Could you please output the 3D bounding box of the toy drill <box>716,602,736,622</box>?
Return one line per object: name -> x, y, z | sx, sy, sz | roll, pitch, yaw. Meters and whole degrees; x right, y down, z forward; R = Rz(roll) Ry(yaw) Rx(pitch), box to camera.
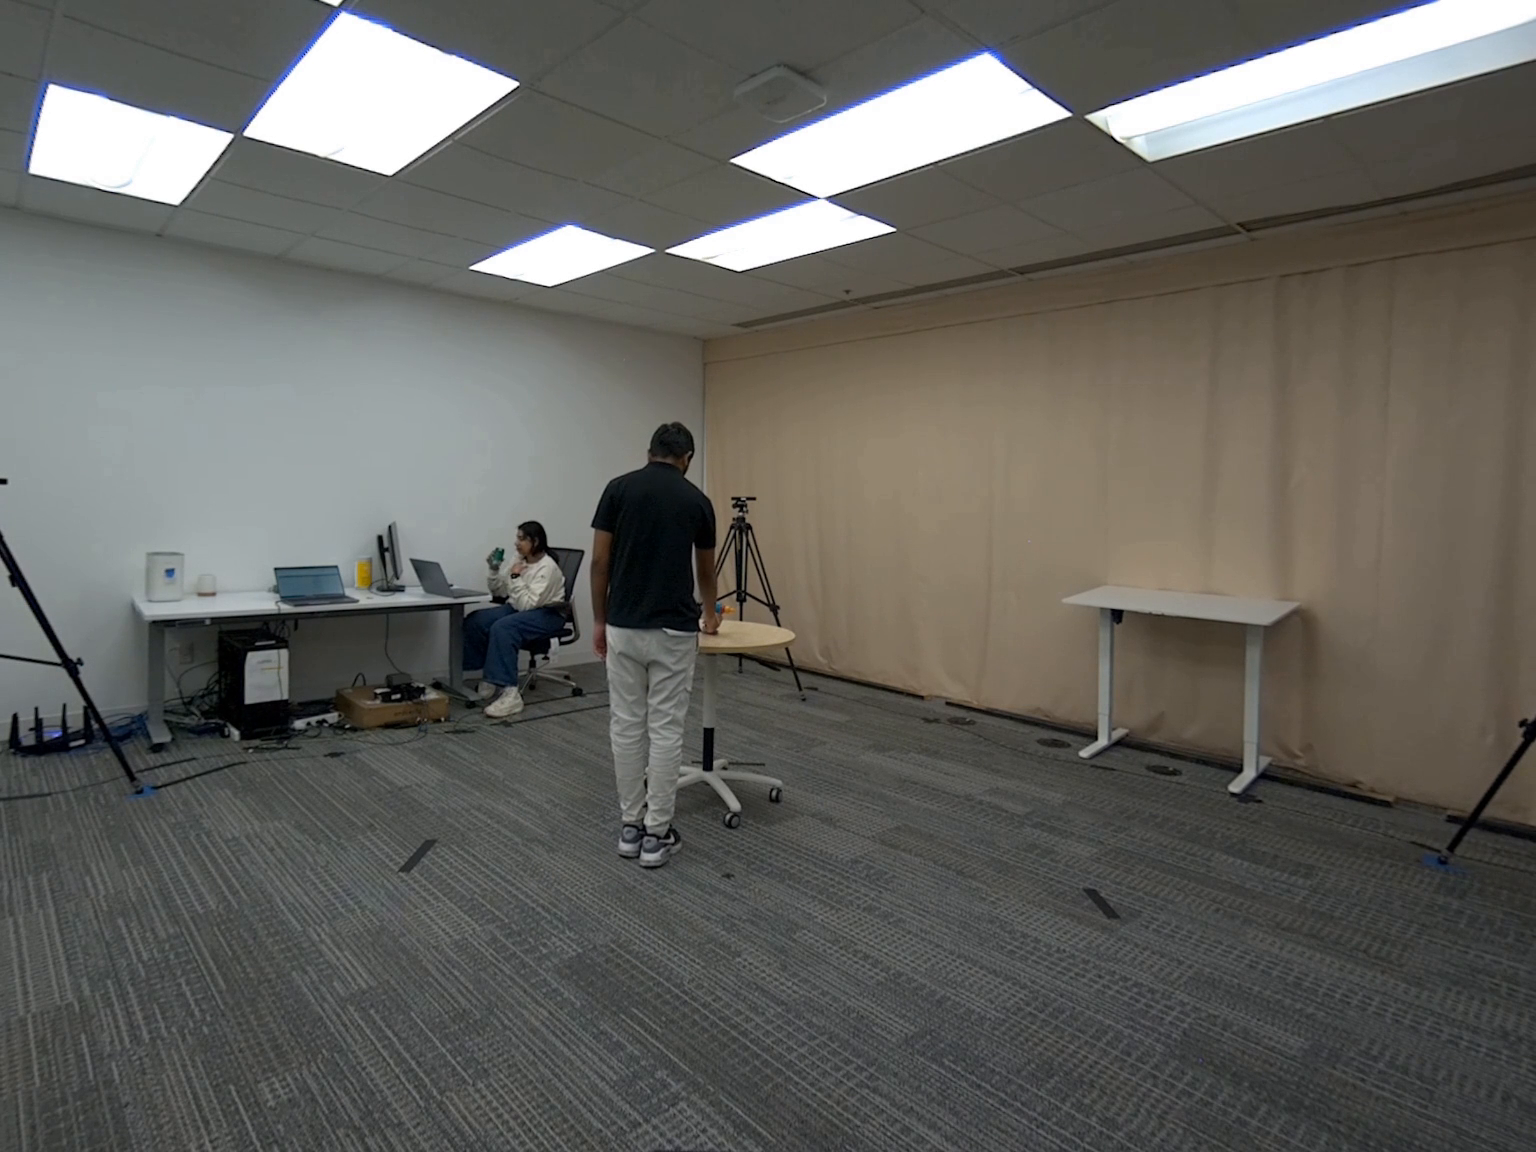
toy drill -> -0.222, 0.191, 3.787 | 0.171, 0.145, 0.061 | 5, 6, 10
